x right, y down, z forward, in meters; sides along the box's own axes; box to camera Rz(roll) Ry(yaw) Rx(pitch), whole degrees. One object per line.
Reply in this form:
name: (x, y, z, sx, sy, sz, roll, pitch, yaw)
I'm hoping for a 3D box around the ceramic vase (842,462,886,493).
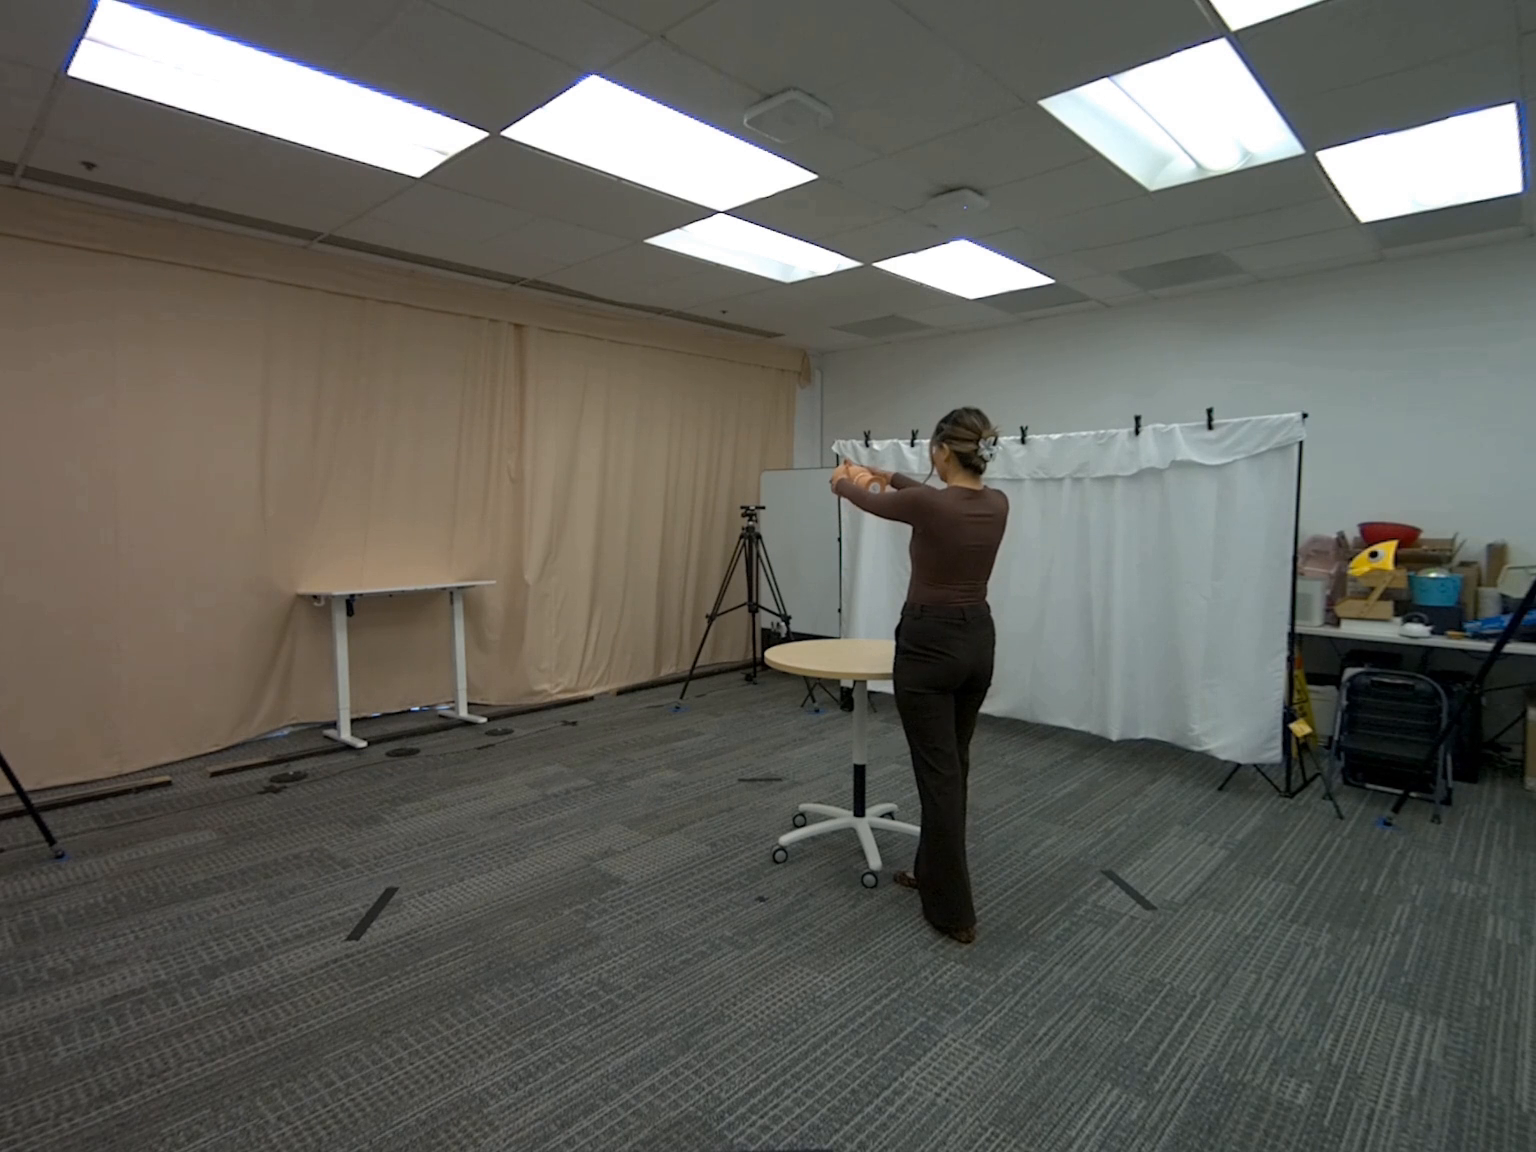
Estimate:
ceramic vase: (0.367, -0.360, 3.320, 0.154, 0.134, 0.227, 35, -3, -30)
